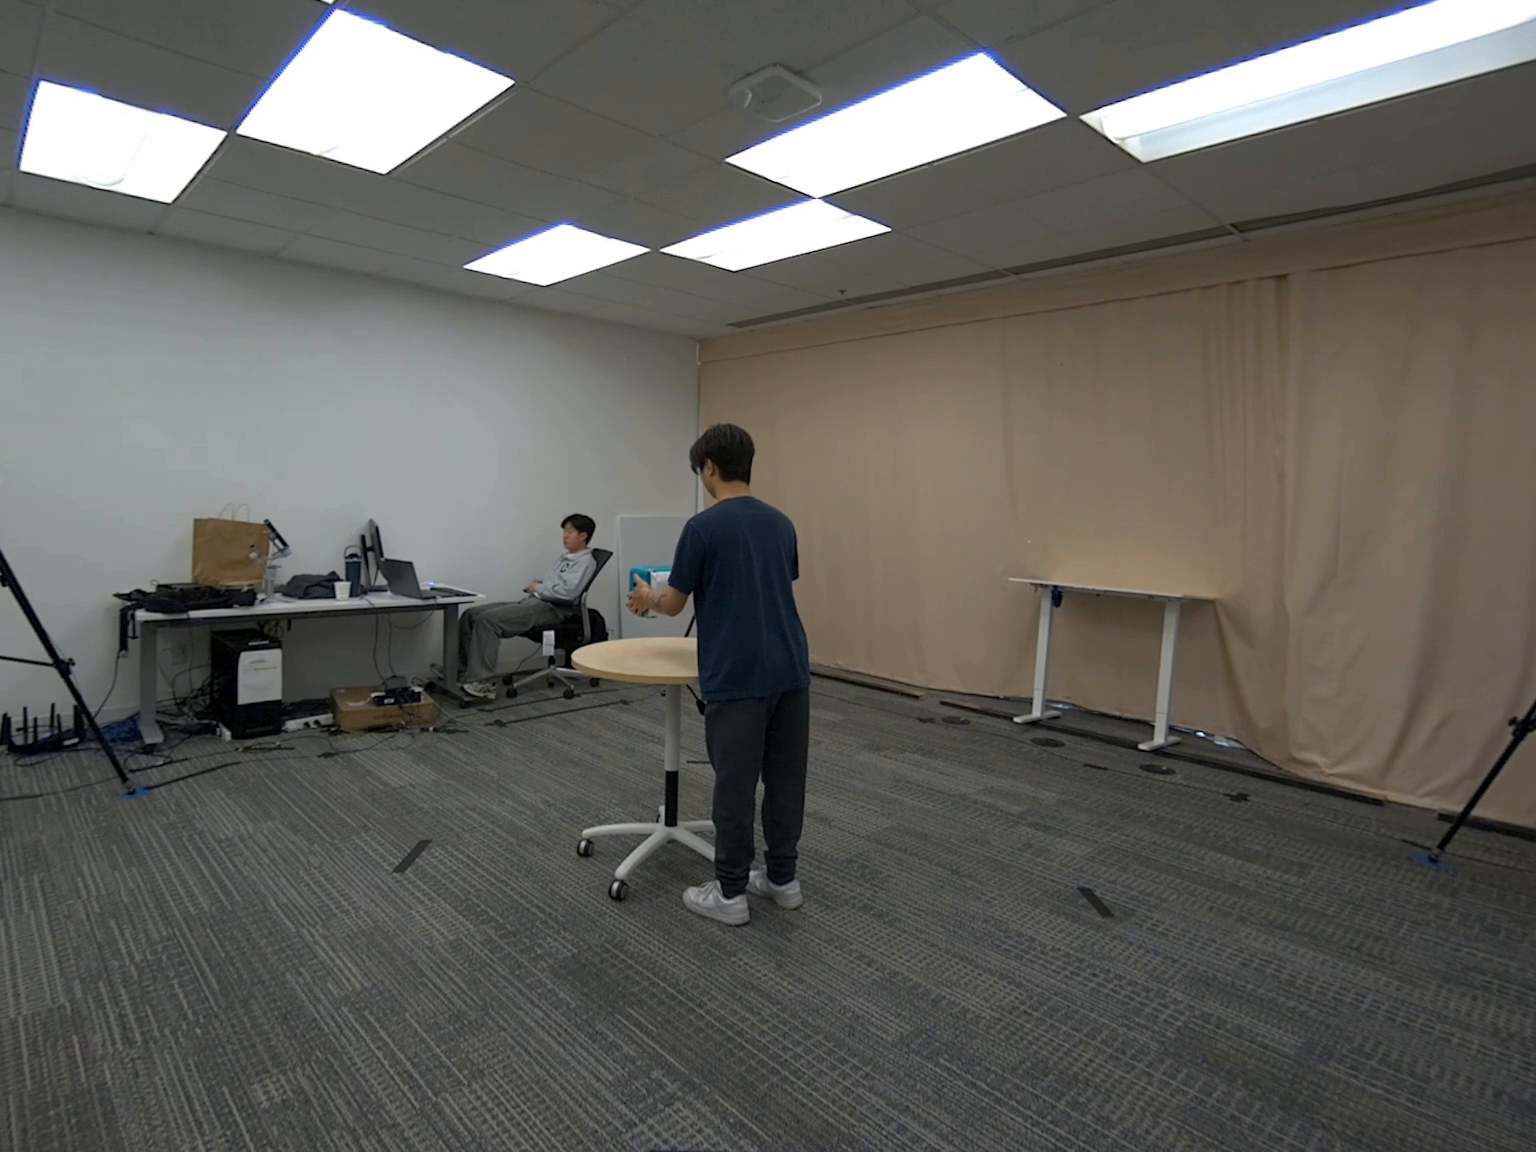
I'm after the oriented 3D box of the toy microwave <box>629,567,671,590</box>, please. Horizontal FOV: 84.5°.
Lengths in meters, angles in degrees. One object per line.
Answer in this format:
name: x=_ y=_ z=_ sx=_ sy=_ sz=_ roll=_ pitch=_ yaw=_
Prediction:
toy microwave: x=-0.380 y=0.060 z=3.181 sx=0.280 sy=0.183 sz=0.156 roll=-2 pitch=6 yaw=-40
